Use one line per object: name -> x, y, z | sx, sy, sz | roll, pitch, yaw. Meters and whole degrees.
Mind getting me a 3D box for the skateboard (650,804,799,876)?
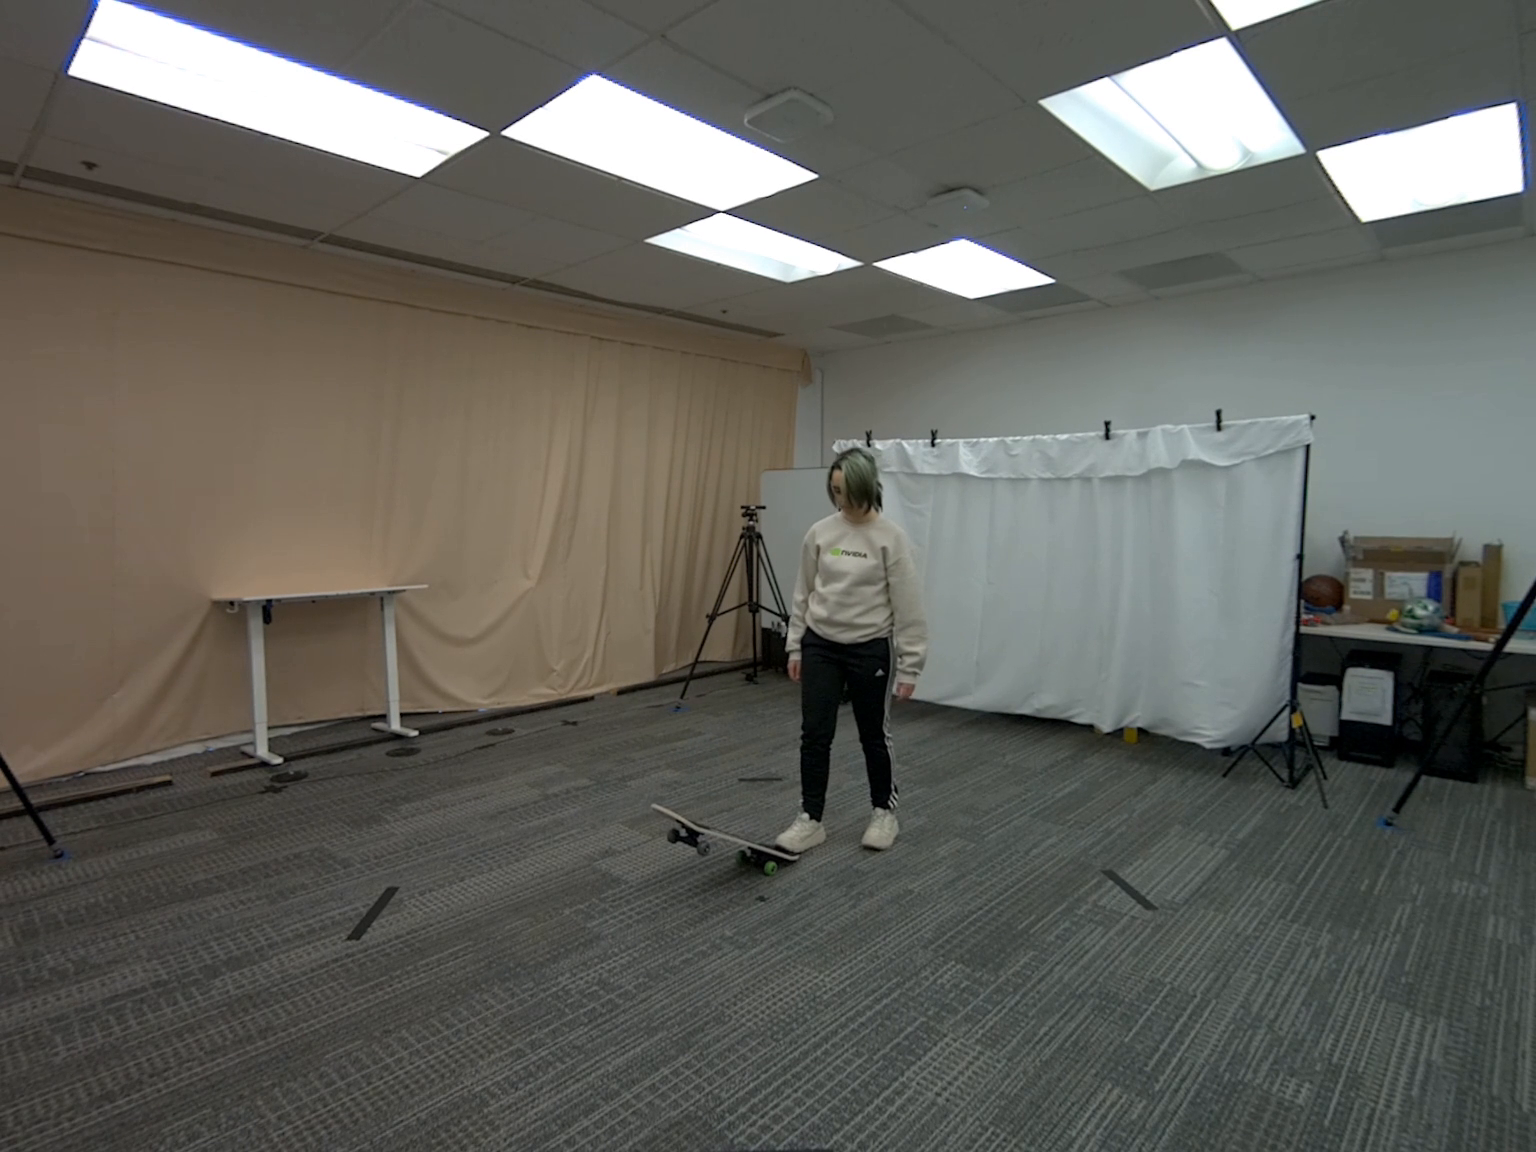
skateboard -> -0.155, 0.996, 3.107 | 0.200, 0.111, 0.757 | 4, -23, 44
